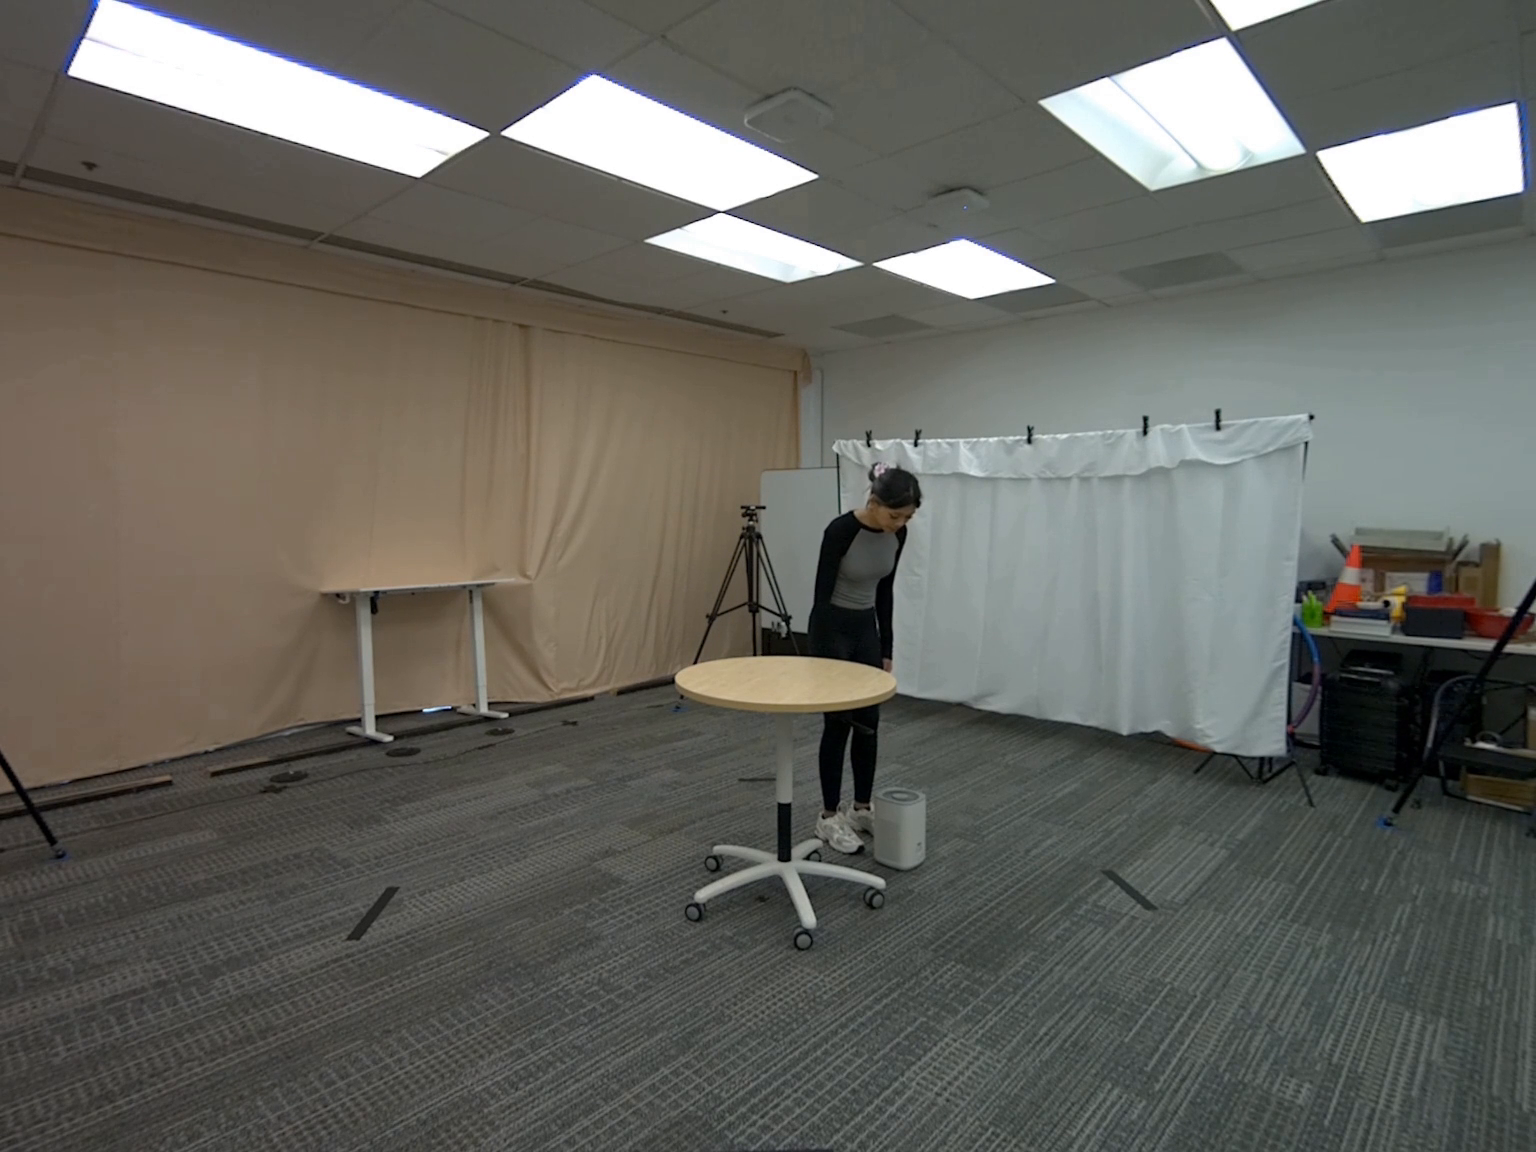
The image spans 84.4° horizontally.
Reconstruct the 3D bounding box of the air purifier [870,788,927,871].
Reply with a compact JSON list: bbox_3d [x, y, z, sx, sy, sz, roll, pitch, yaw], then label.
[{"bbox_3d":[0.523,0.988,3.280,0.177,0.265,0.166,3,4,39],"label":"air purifier"}]
